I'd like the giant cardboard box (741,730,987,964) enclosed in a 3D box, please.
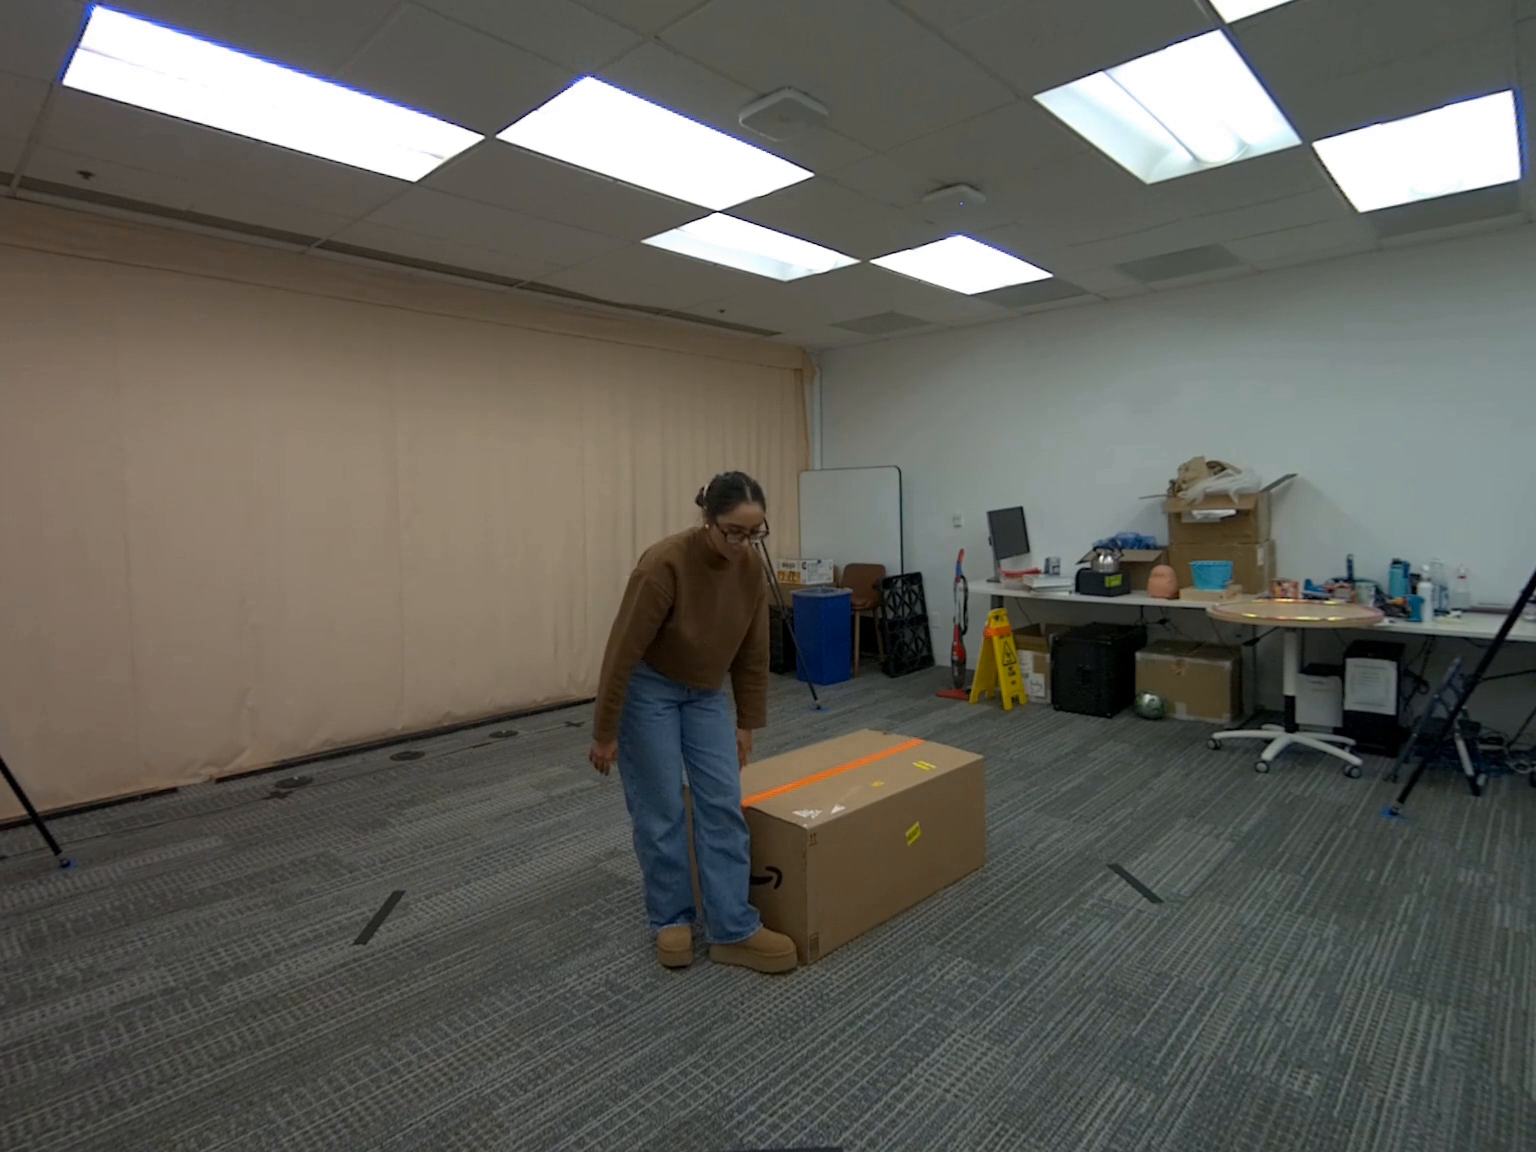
[{"bbox_3d":[0.274,0.917,3.073,0.996,0.446,0.603,-6,6,-44],"label":"giant cardboard box"}]
